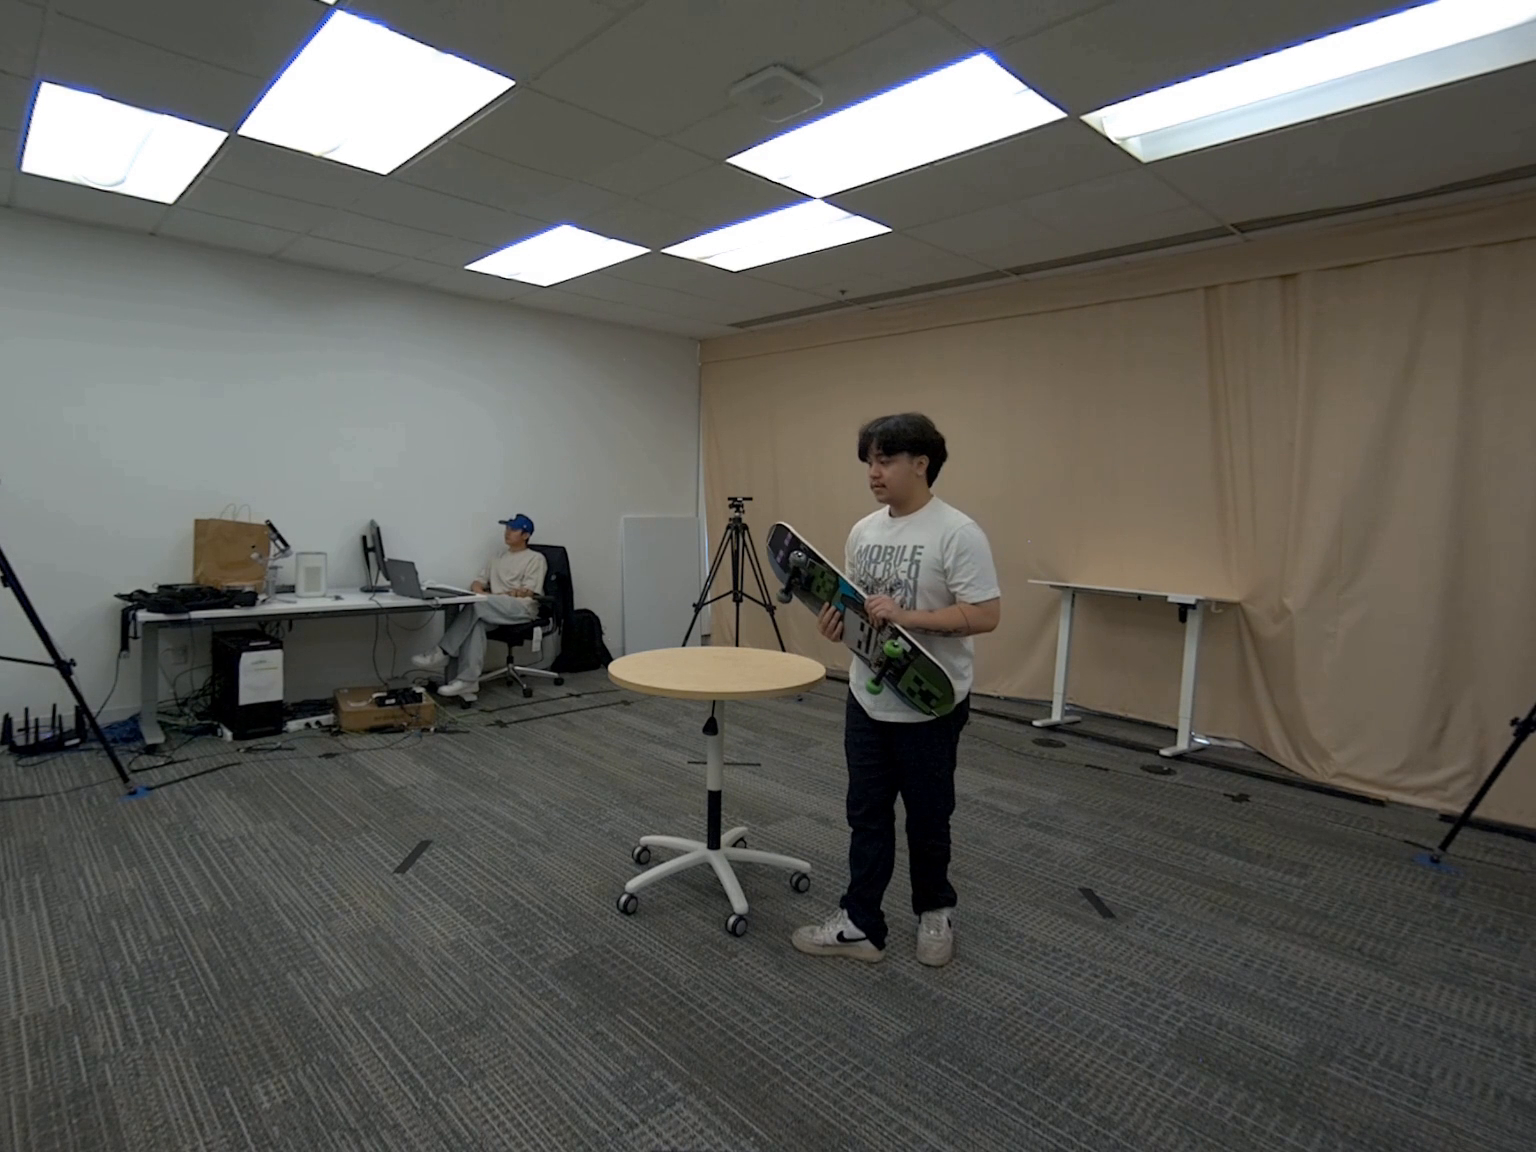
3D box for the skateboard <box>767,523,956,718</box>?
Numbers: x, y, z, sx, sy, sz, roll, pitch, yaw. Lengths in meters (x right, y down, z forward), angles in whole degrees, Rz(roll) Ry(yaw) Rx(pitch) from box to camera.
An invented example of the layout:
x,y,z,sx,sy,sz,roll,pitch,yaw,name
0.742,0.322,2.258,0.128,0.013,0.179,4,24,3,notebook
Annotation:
x,y,z,sx,sy,sz,roll,pitch,yaw,name
0.215,0.124,2.448,0.109,0.191,0.809,-18,49,-36,skateboard
